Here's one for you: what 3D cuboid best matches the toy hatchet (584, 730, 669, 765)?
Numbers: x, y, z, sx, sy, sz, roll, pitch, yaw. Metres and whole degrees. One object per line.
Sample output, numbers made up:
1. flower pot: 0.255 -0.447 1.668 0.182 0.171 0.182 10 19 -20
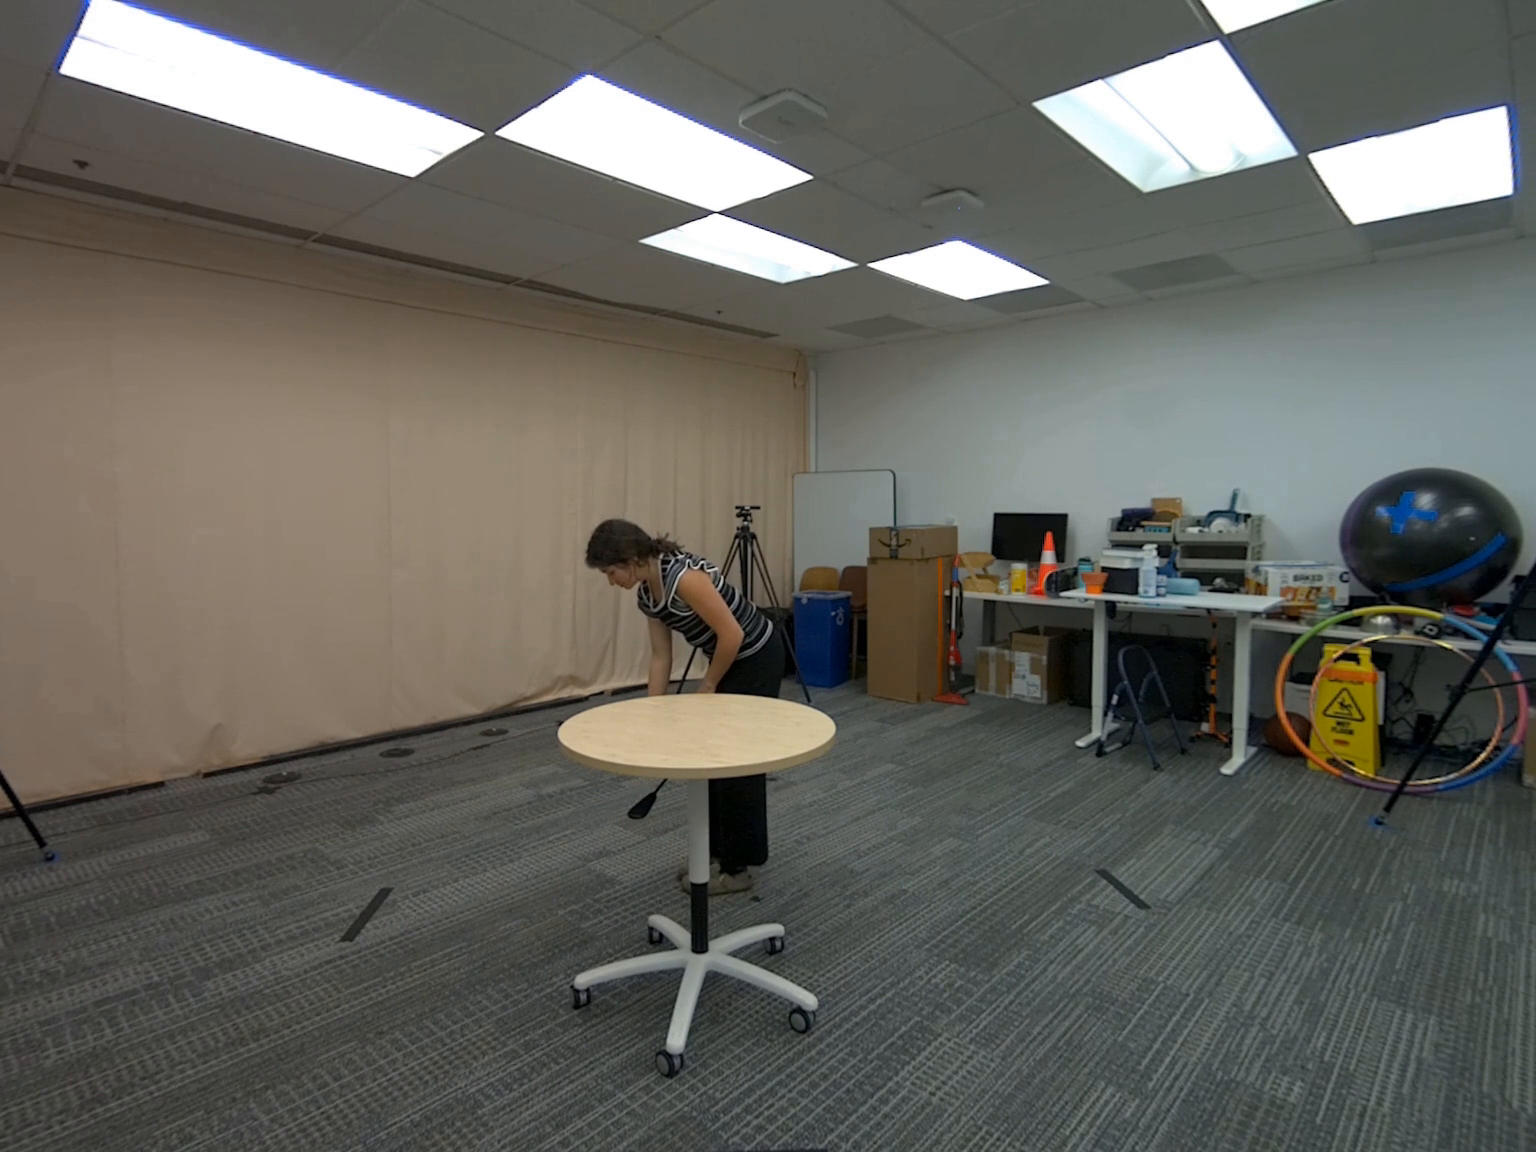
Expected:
1. toy hatchet: -0.512 0.617 3.051 0.273 0.030 0.127 -11 -38 13
